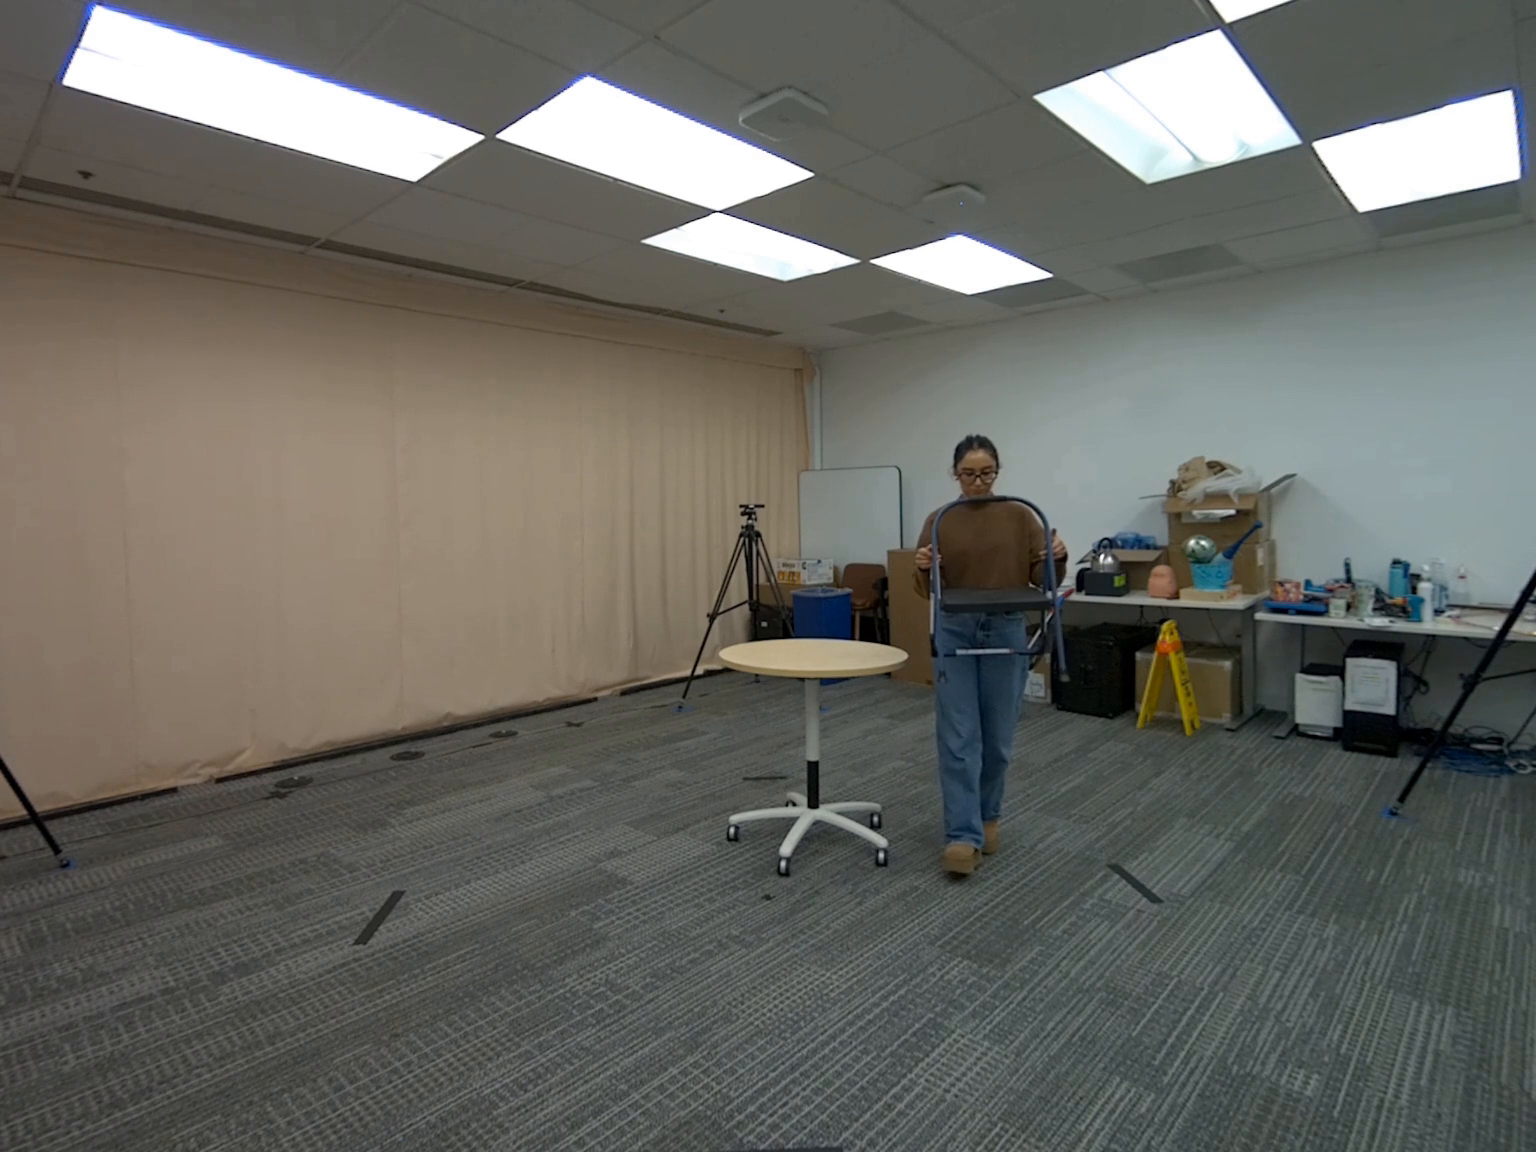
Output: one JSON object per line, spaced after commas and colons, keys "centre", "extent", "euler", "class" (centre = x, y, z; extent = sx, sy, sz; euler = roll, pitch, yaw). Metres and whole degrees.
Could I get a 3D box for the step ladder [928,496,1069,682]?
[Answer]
{"centre": [0.795, 0.034, 2.977], "extent": [0.434, 0.603, 0.349], "euler": [-2, 8, 6], "class": "step ladder"}
